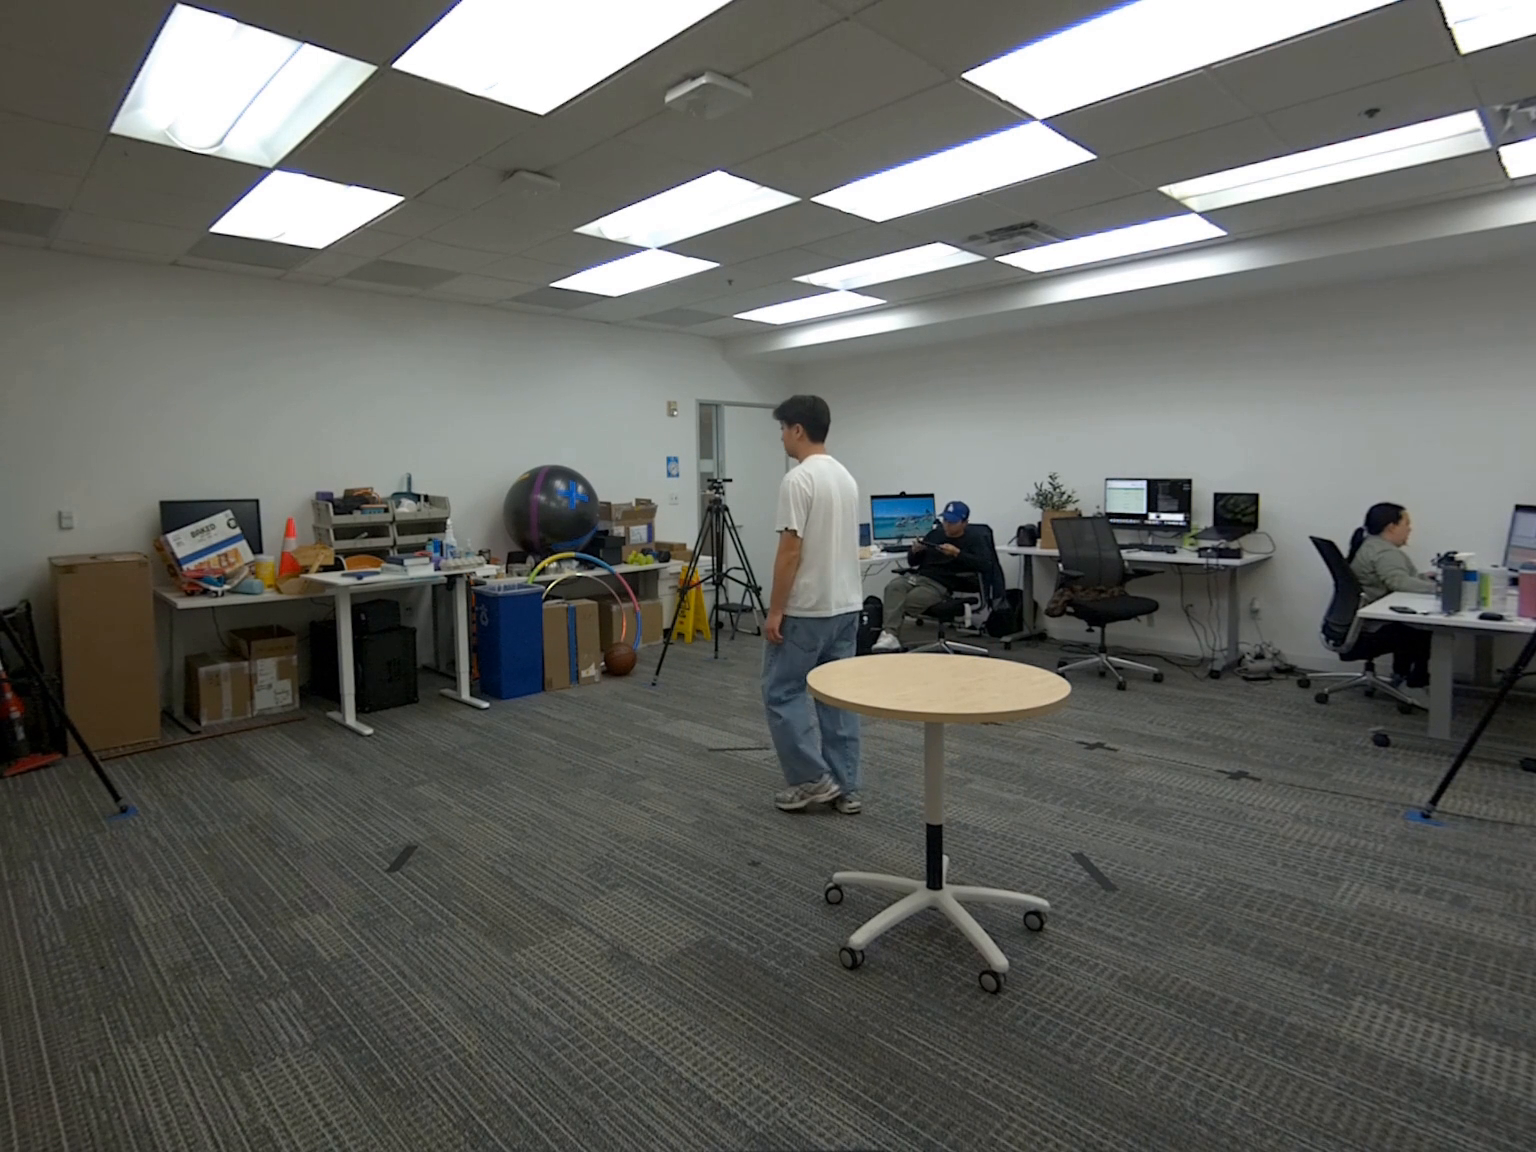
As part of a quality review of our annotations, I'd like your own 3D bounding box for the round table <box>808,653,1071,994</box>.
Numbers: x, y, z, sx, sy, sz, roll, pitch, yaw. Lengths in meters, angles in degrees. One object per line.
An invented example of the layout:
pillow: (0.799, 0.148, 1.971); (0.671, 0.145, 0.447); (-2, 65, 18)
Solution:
round table: (0.508, 0.709, 2.602); (0.763, 0.791, 0.768); (-1, 5, -2)
